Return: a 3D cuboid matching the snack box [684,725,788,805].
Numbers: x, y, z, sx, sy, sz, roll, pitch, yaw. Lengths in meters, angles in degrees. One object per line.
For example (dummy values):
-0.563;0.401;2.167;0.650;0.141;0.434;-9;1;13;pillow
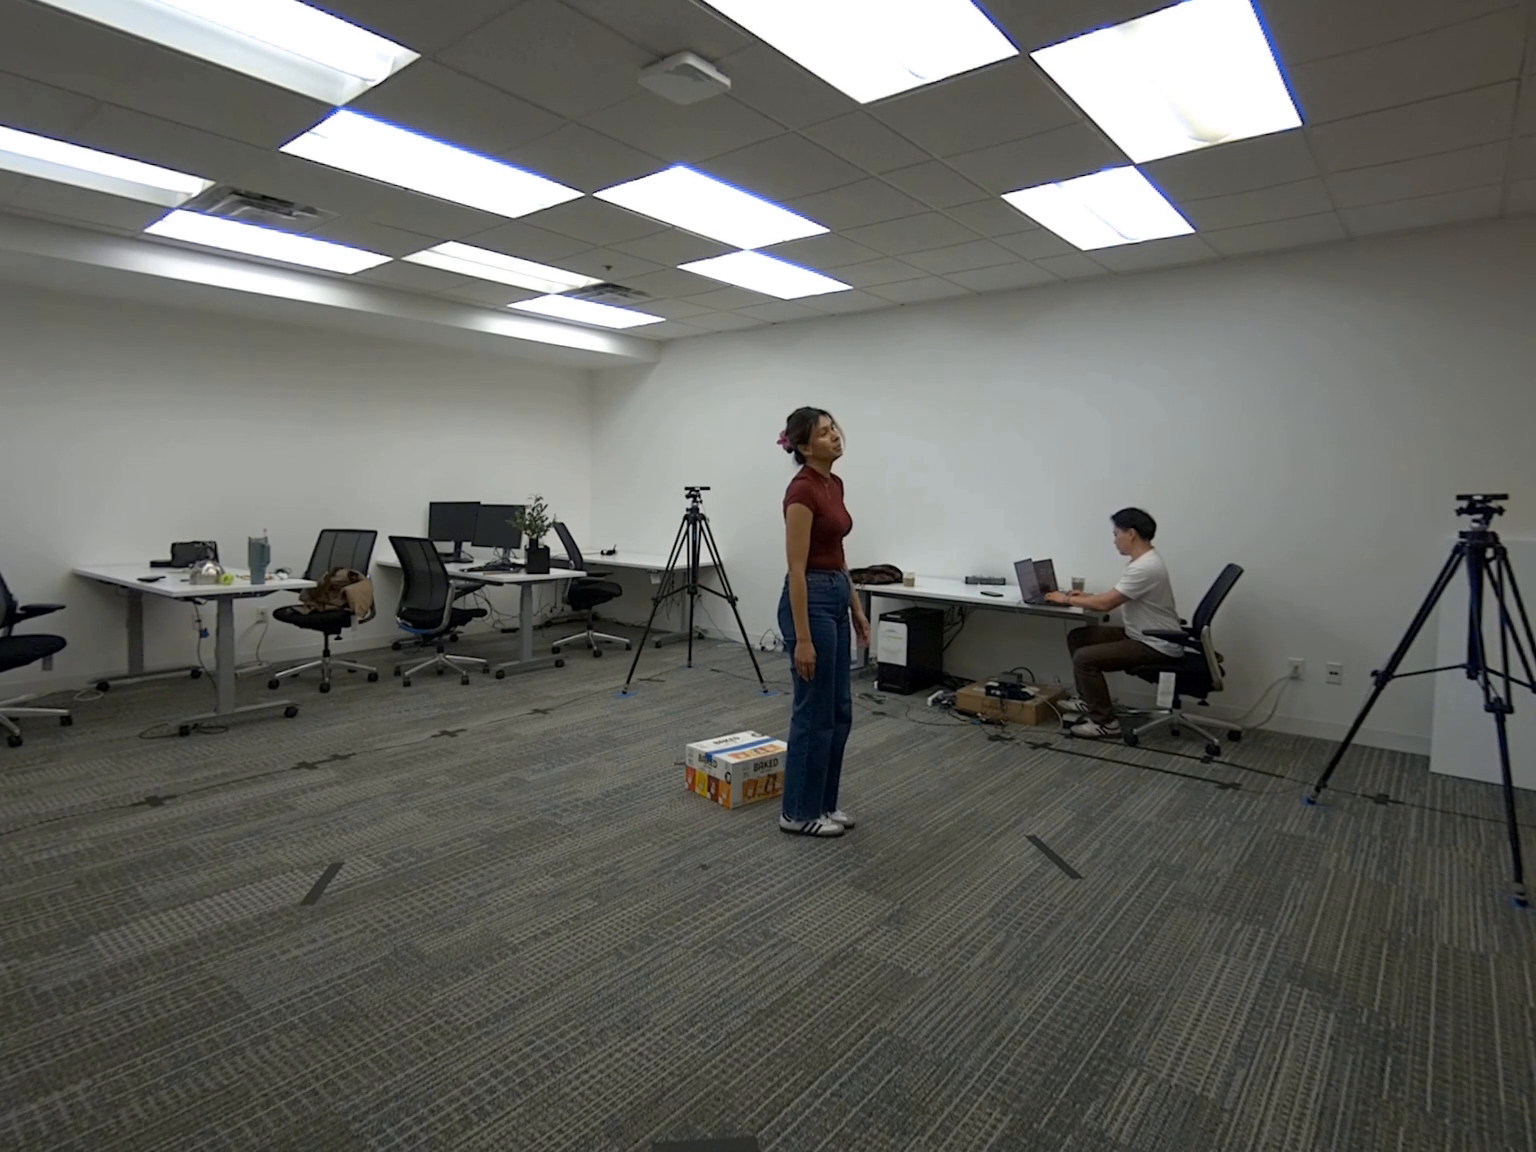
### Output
-0.127;0.871;3.940;0.393;0.205;0.352;-4;7;-41;snack box
